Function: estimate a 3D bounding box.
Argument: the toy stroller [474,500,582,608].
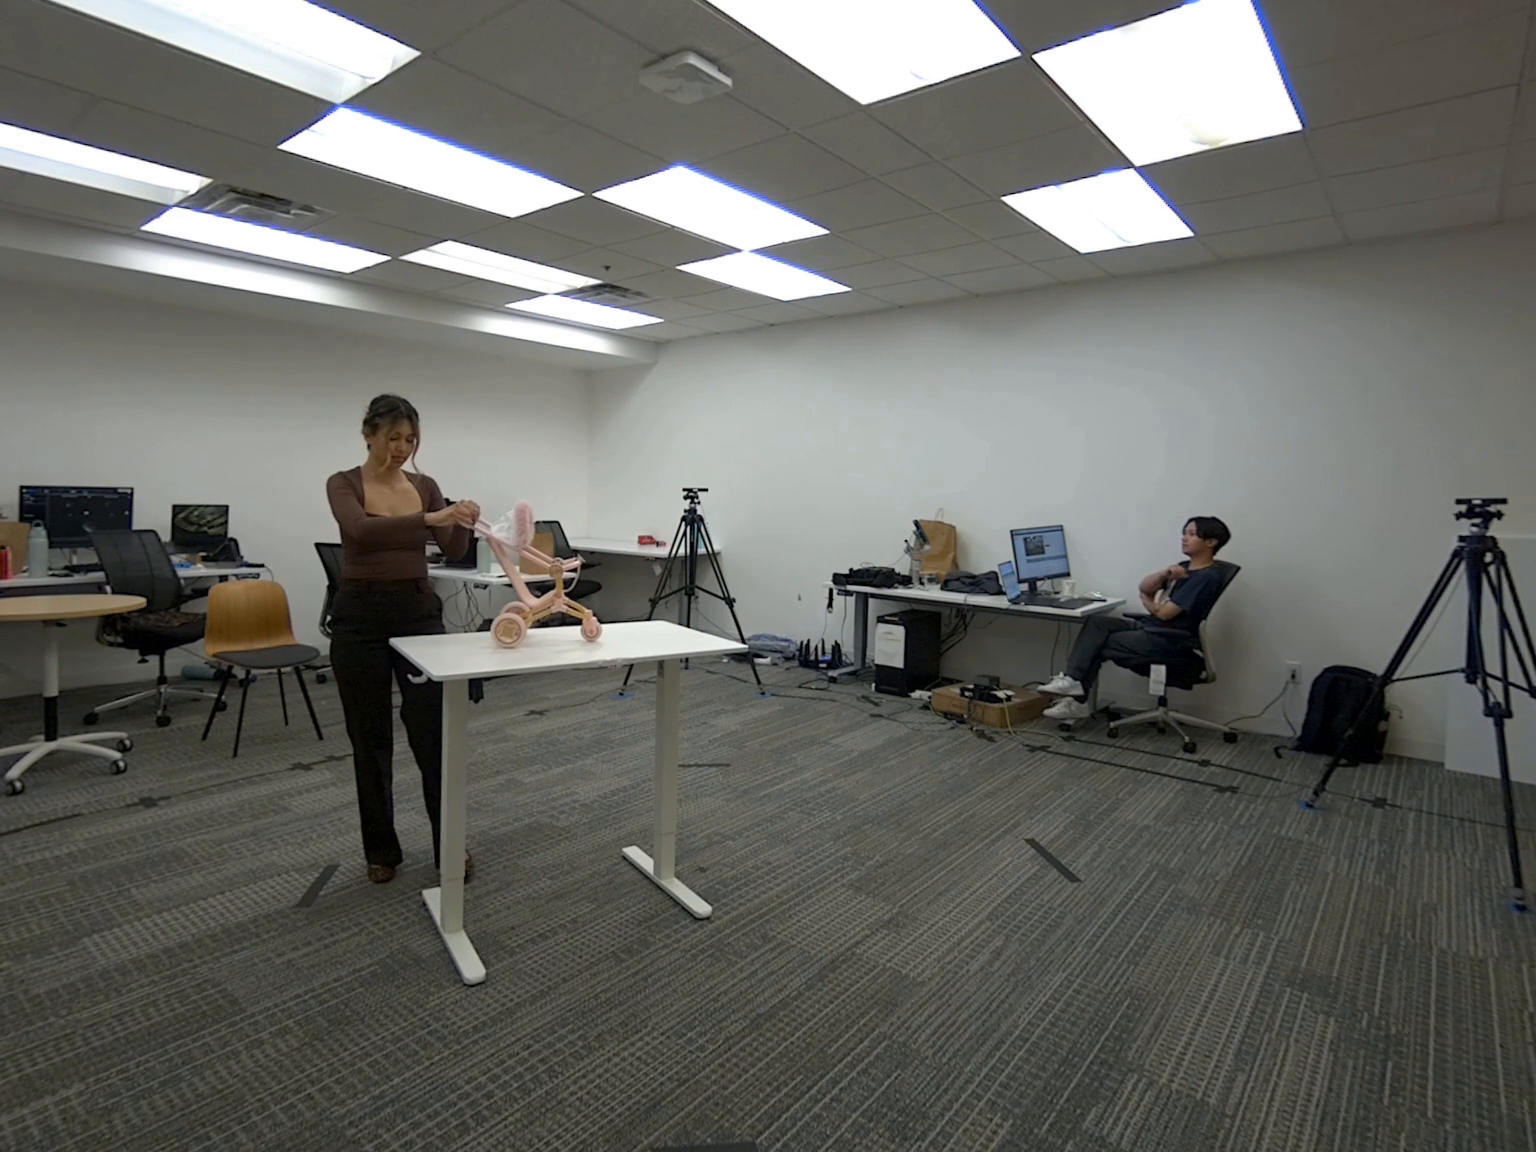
[{"bbox_3d":[-0.768,-0.007,2.747,0.340,0.531,0.284,-14,6,-4],"label":"toy stroller"}]
